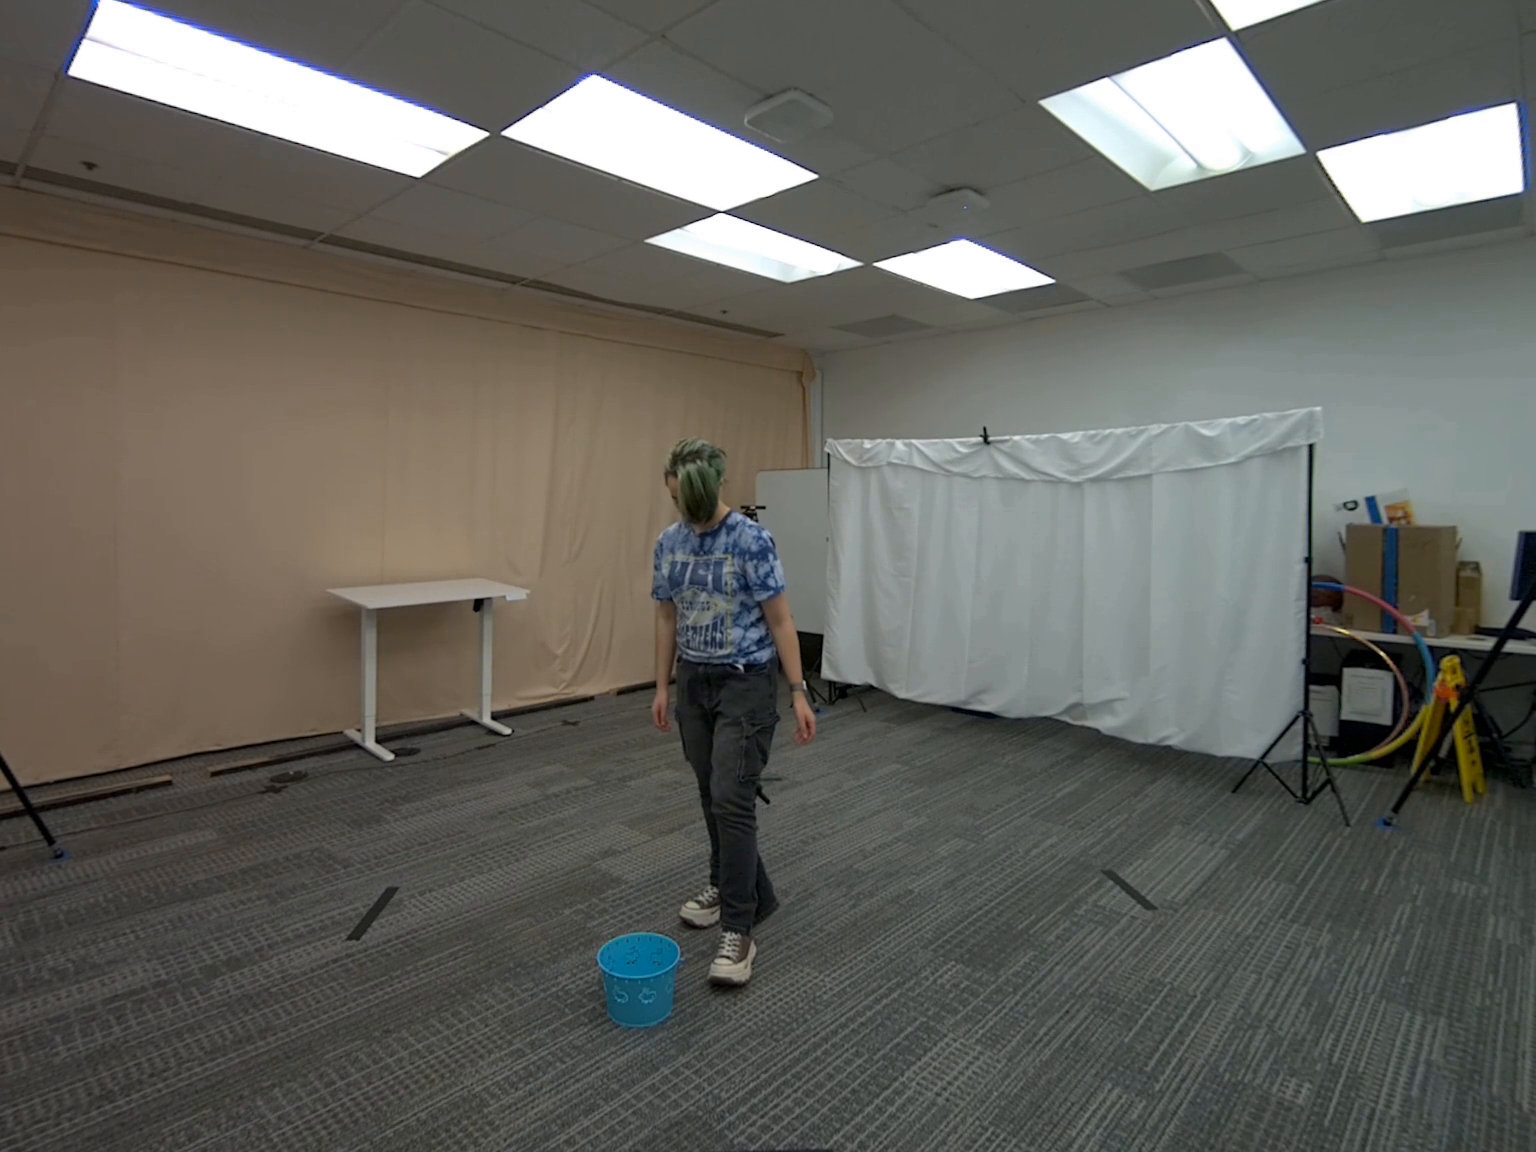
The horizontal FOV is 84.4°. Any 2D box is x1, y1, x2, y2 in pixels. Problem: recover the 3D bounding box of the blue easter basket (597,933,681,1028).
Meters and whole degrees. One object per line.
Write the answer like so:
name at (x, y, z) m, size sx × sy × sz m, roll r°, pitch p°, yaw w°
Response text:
blue easter basket at (-0.344, 1.121, 2.334) m, size 0.243 × 0.155 × 0.244 m, roll 0°, pitch 4°, yaw -2°
